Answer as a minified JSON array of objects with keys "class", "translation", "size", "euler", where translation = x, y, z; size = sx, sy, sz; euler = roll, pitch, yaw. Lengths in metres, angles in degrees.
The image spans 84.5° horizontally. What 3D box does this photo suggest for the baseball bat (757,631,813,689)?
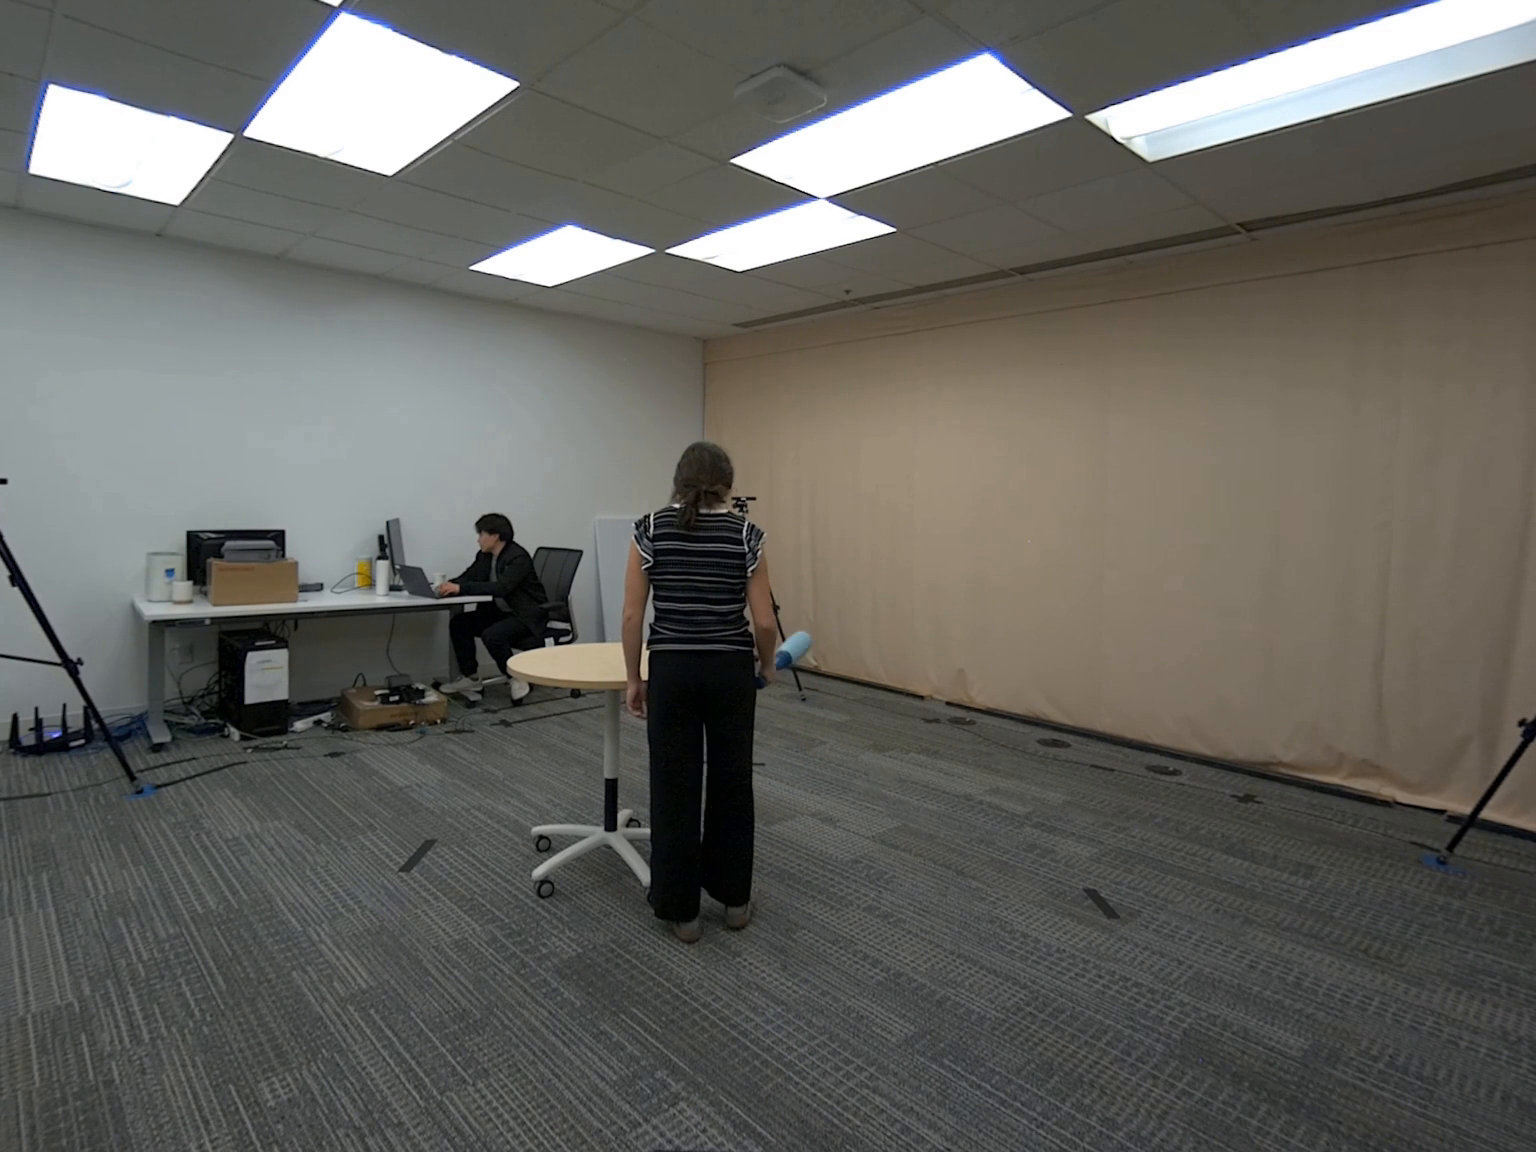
[{"class":"baseball bat","translation":[0.043,0.313,3.038],"size":[0.090,0.088,0.539],"euler":[3,12,18]}]
